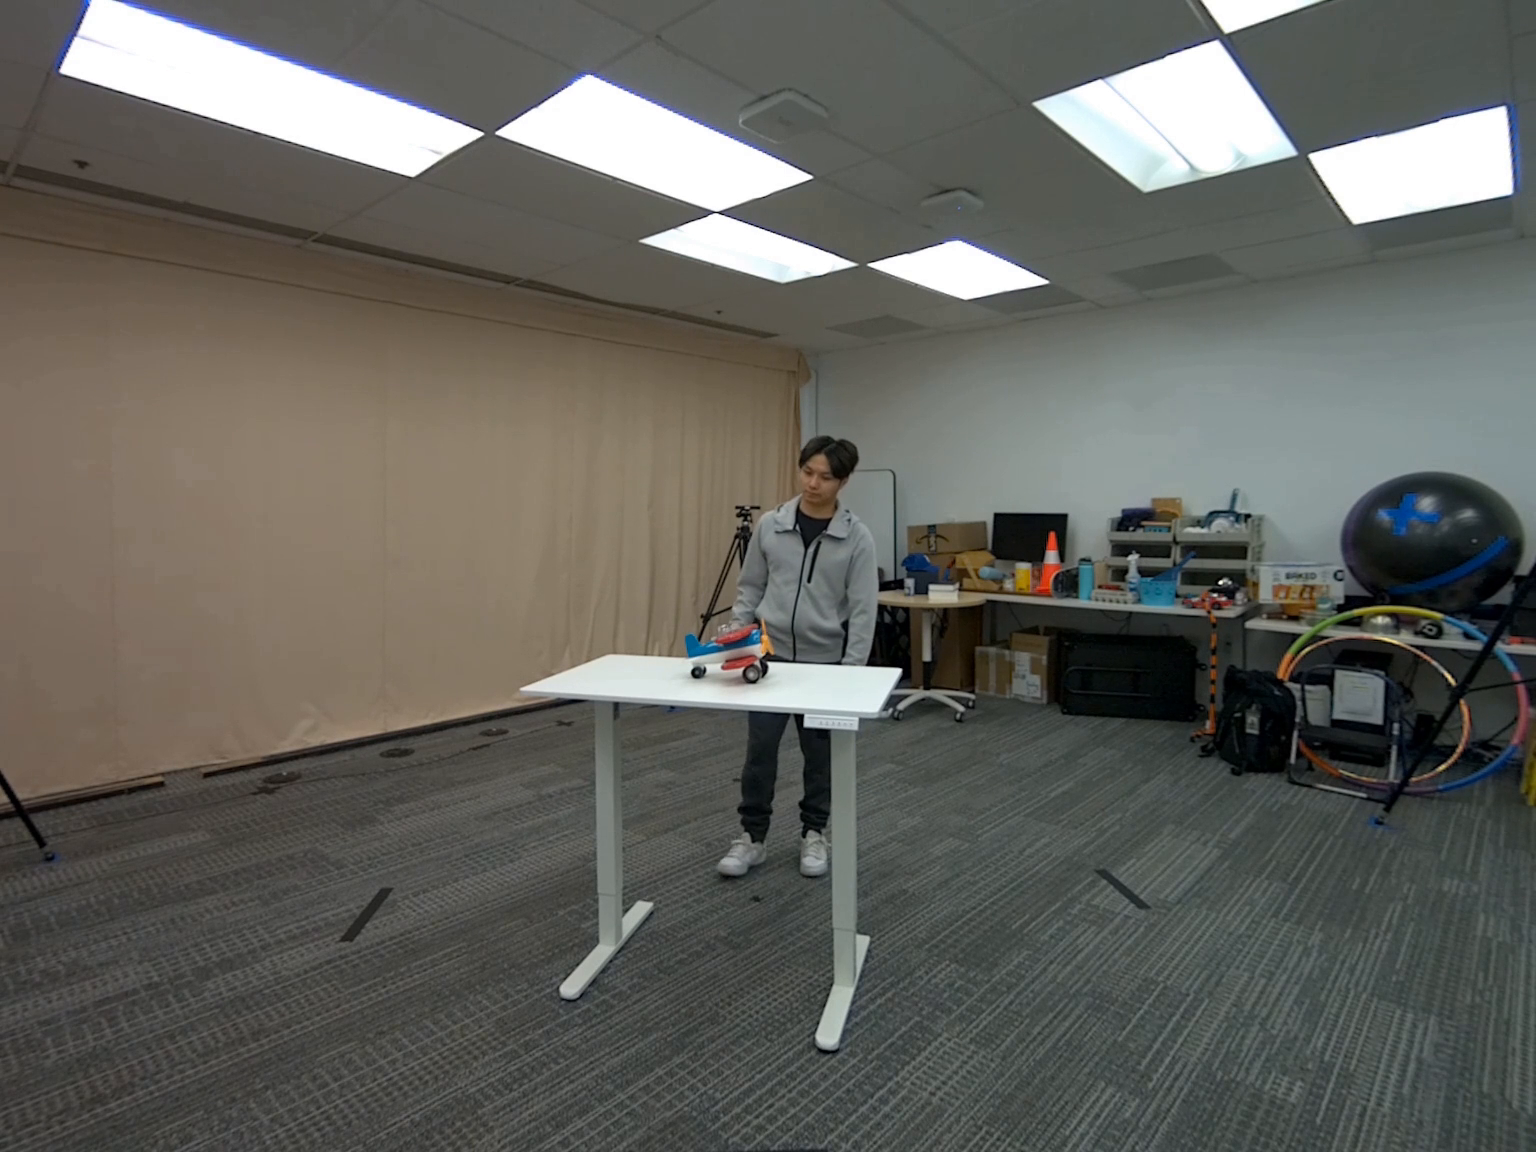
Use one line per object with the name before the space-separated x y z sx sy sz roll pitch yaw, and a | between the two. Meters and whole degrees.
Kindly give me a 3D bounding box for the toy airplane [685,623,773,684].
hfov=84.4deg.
toy airplane | -0.123 0.230 2.462 0.256 0.156 0.255 -1 4 -13
